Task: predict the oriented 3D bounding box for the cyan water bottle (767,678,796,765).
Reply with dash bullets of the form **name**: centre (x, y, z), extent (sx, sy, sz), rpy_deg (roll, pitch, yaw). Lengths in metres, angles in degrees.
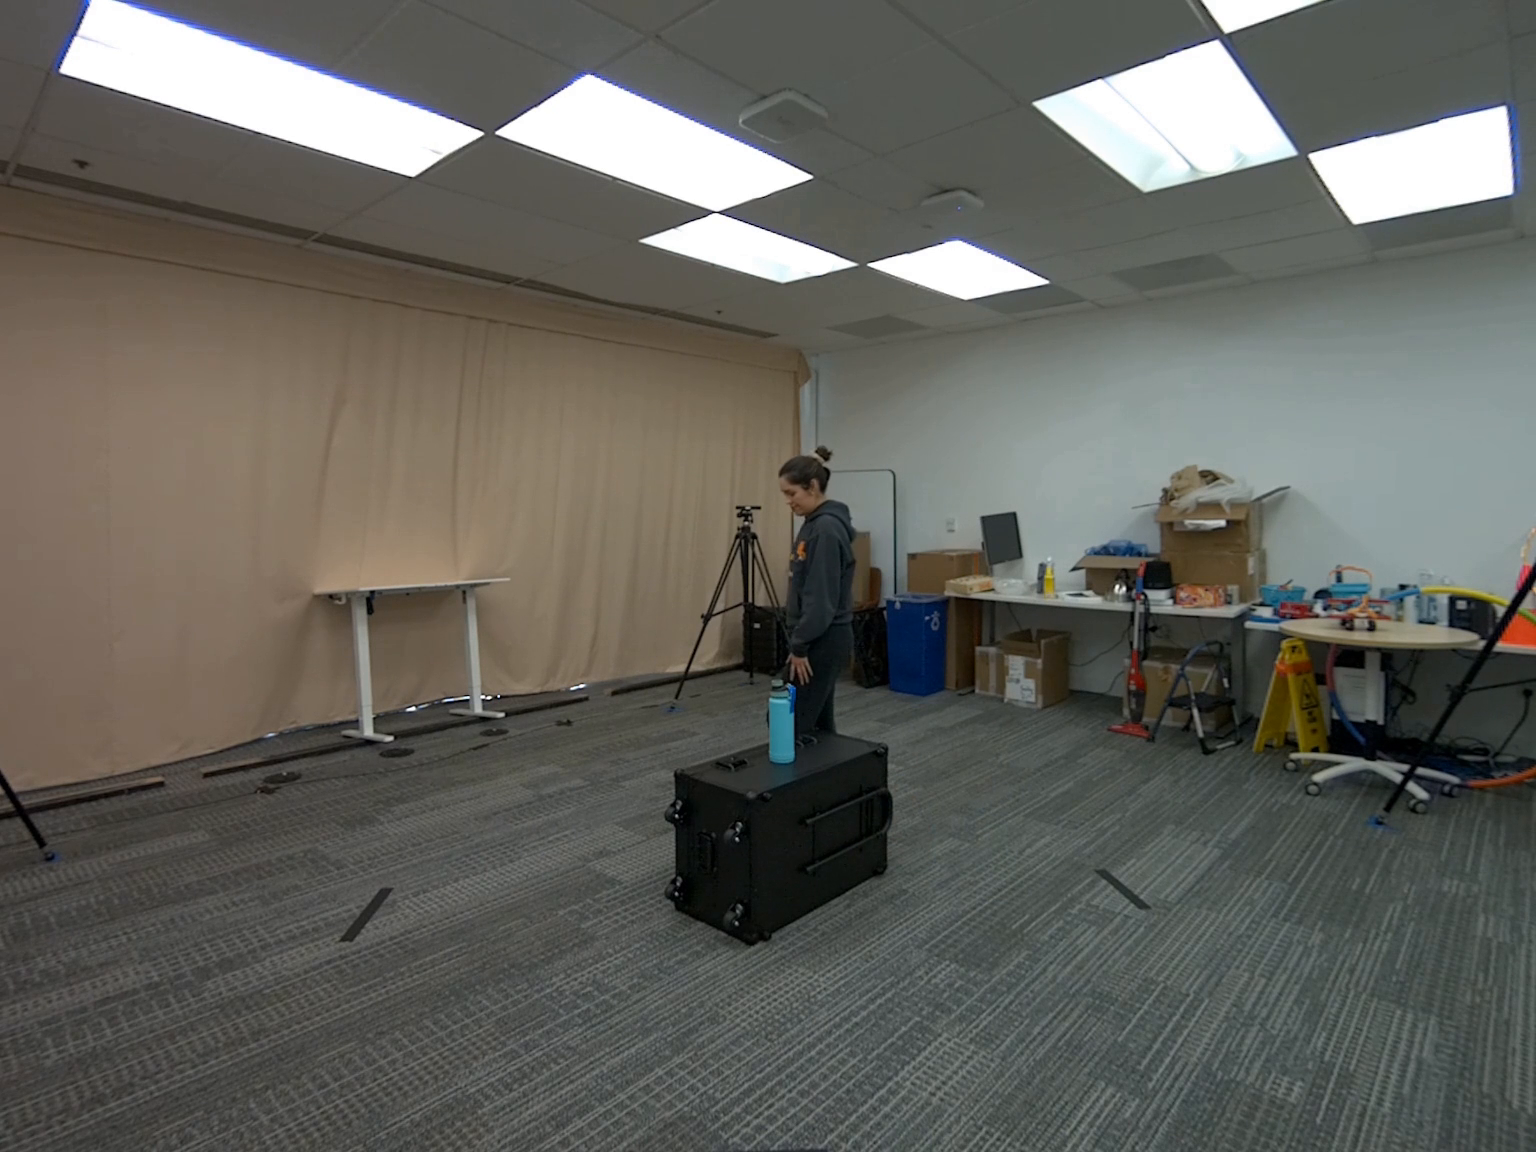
- **cyan water bottle**: centre (0.069, 0.515, 3.011), extent (0.092, 0.283, 0.092), rpy_deg (1, 2, -2)
